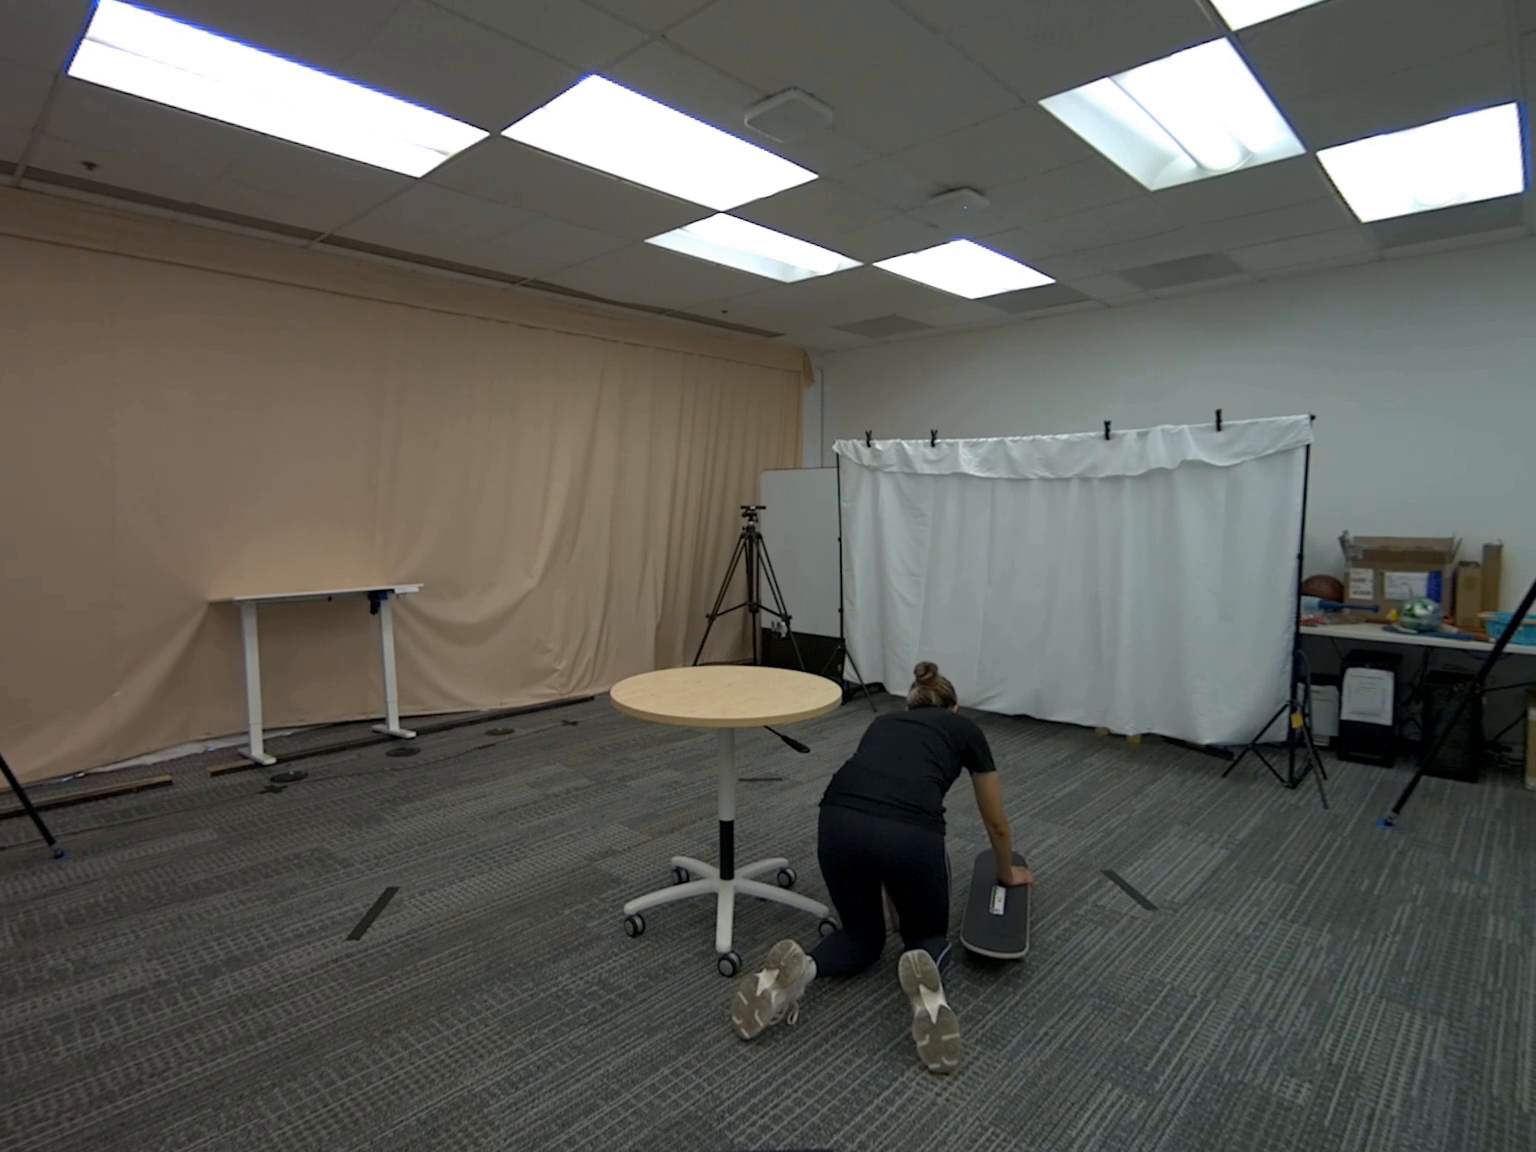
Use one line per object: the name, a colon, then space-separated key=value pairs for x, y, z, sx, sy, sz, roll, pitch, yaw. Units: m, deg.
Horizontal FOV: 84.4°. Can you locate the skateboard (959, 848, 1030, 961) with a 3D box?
skateboard: x=0.773 y=1.108 z=2.780 sx=0.197 sy=0.110 sz=0.772 roll=1 pitch=5 yaw=18
